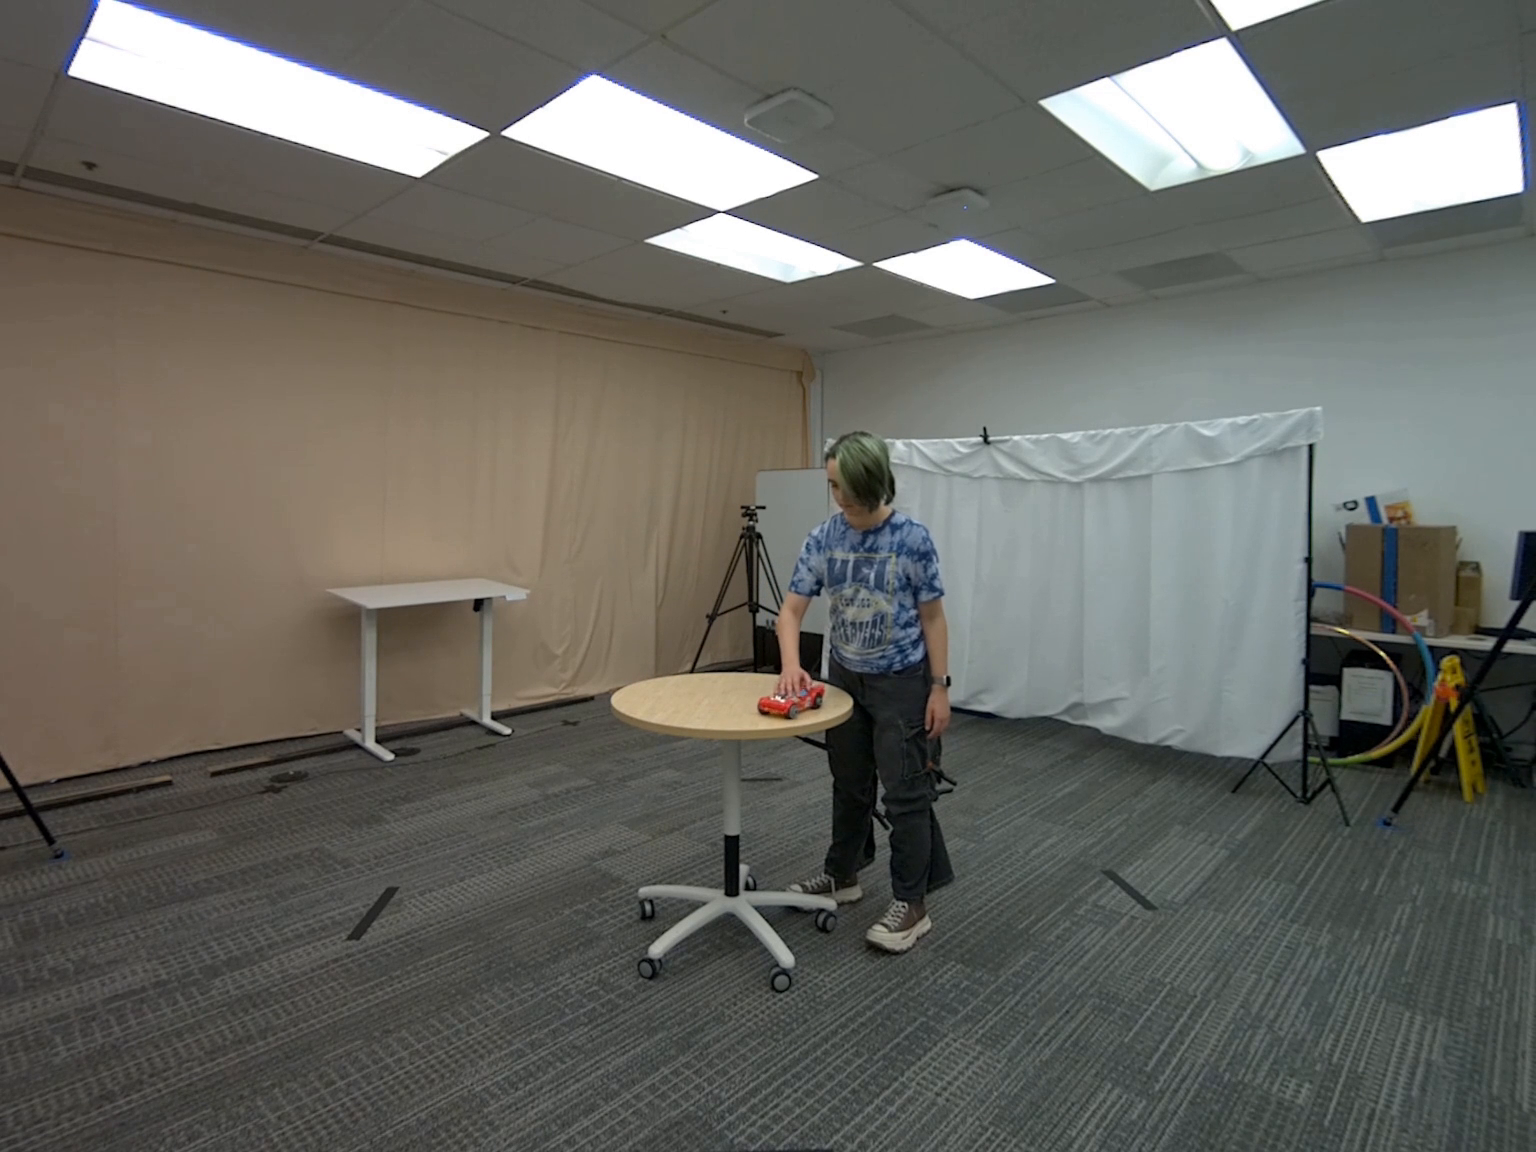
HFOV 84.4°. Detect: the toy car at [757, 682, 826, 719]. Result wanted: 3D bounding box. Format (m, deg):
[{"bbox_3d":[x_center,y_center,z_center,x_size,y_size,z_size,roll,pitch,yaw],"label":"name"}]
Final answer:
[{"bbox_3d":[0.080,0.373,2.521,0.134,0.082,0.249,4,17,35],"label":"toy car"}]
